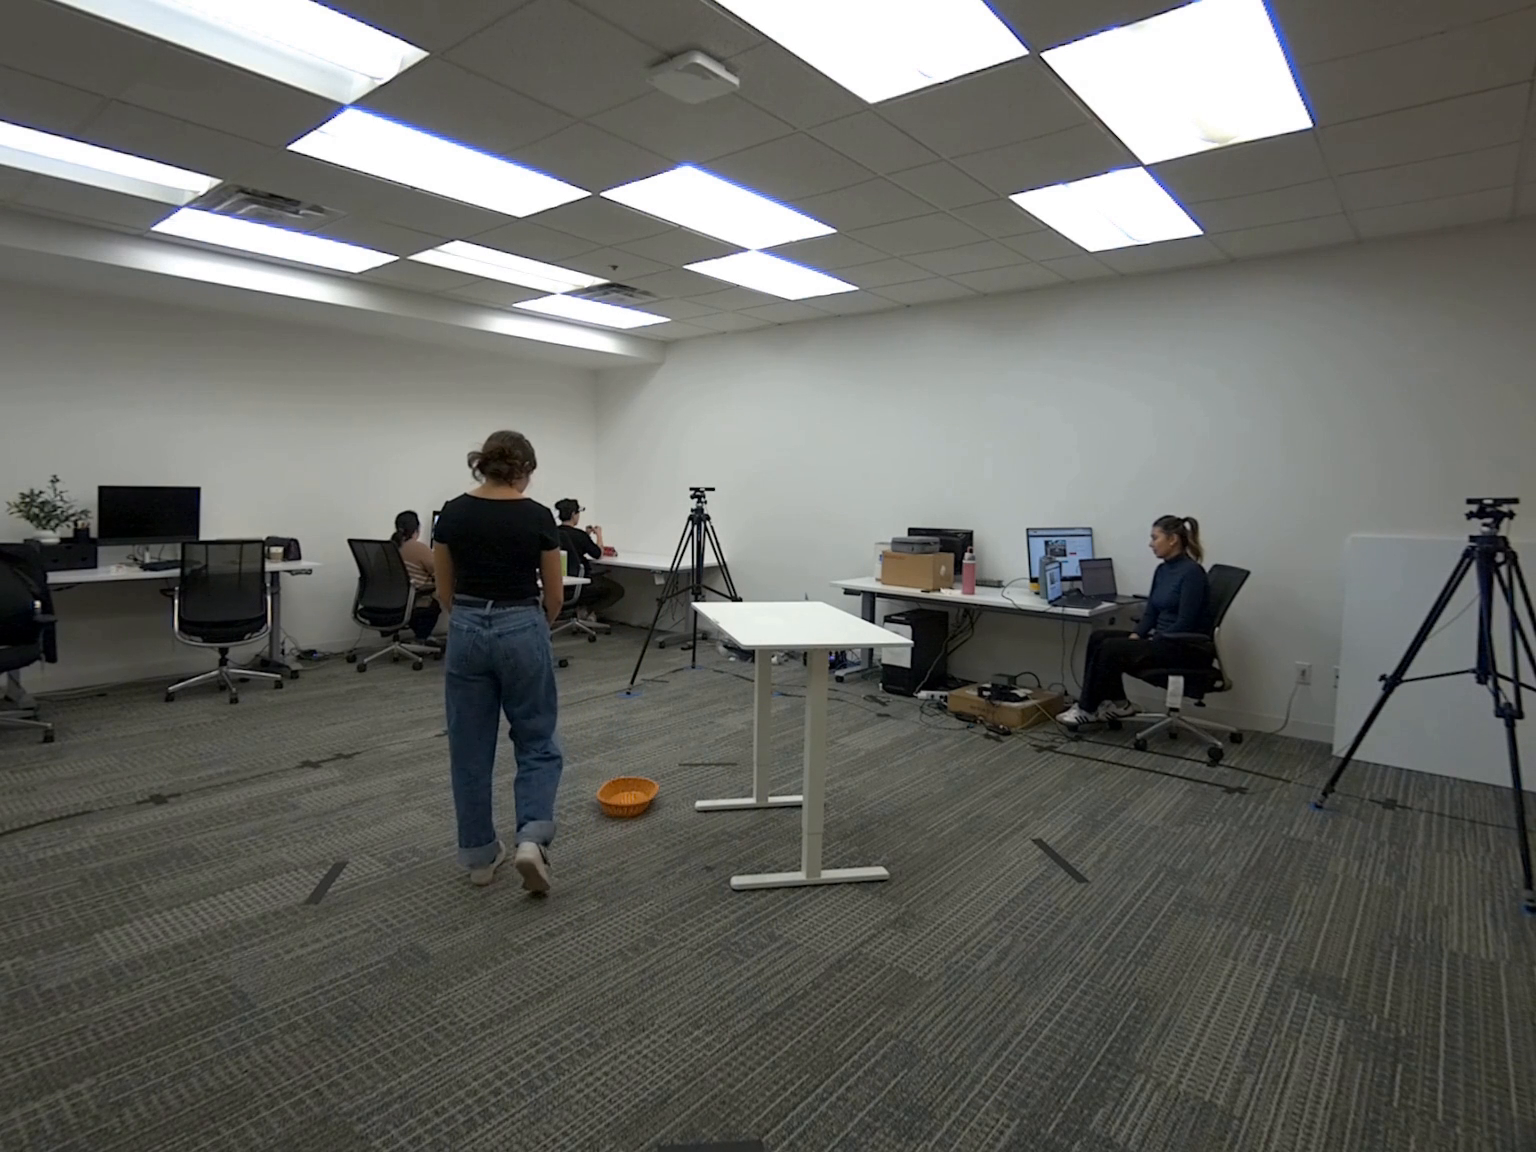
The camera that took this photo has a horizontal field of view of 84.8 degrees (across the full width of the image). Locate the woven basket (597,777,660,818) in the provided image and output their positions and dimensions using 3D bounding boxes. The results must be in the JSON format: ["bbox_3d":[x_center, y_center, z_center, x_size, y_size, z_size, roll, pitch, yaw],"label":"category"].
[{"bbox_3d":[-0.620,0.961,3.709,0.255,0.073,0.348,3,6,9],"label":"woven basket"}]
